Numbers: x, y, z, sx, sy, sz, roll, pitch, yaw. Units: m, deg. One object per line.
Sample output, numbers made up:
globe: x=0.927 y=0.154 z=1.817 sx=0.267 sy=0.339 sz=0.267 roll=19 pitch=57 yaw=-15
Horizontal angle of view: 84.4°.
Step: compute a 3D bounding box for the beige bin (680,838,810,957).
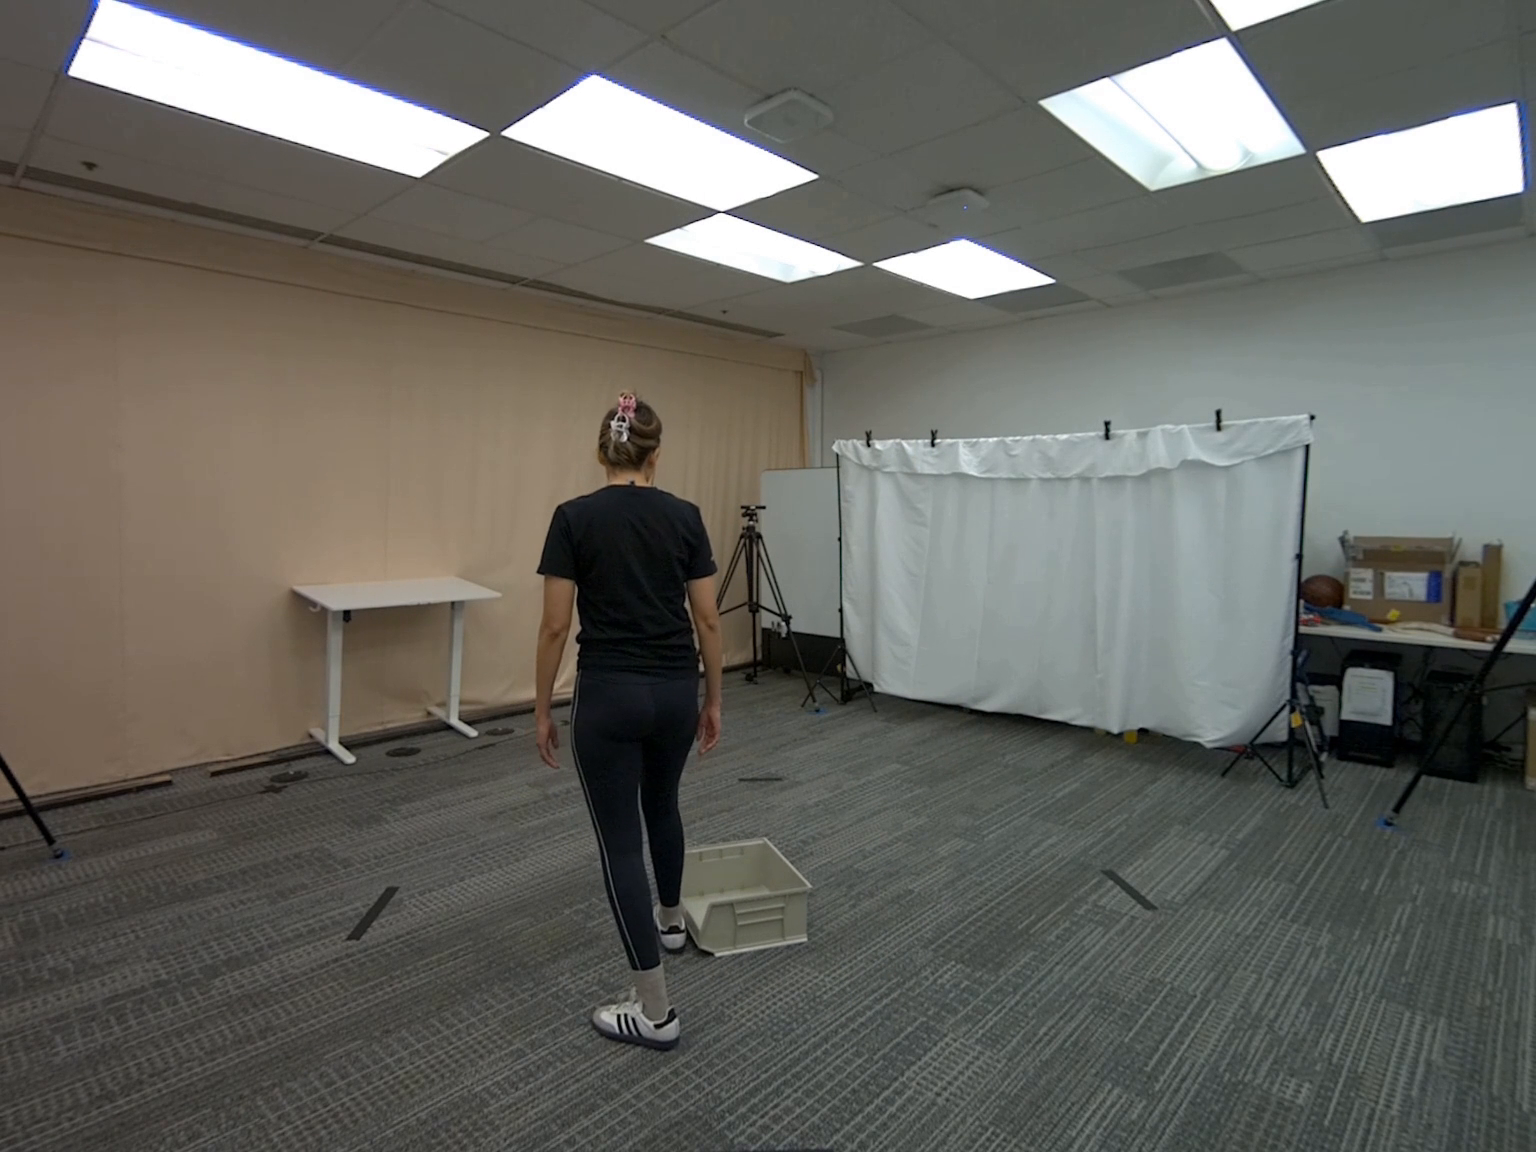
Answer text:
beige bin: x=-0.110 y=1.069 z=2.821 sx=0.370 sy=0.189 sz=0.431 roll=0 pitch=4 yaw=-20
